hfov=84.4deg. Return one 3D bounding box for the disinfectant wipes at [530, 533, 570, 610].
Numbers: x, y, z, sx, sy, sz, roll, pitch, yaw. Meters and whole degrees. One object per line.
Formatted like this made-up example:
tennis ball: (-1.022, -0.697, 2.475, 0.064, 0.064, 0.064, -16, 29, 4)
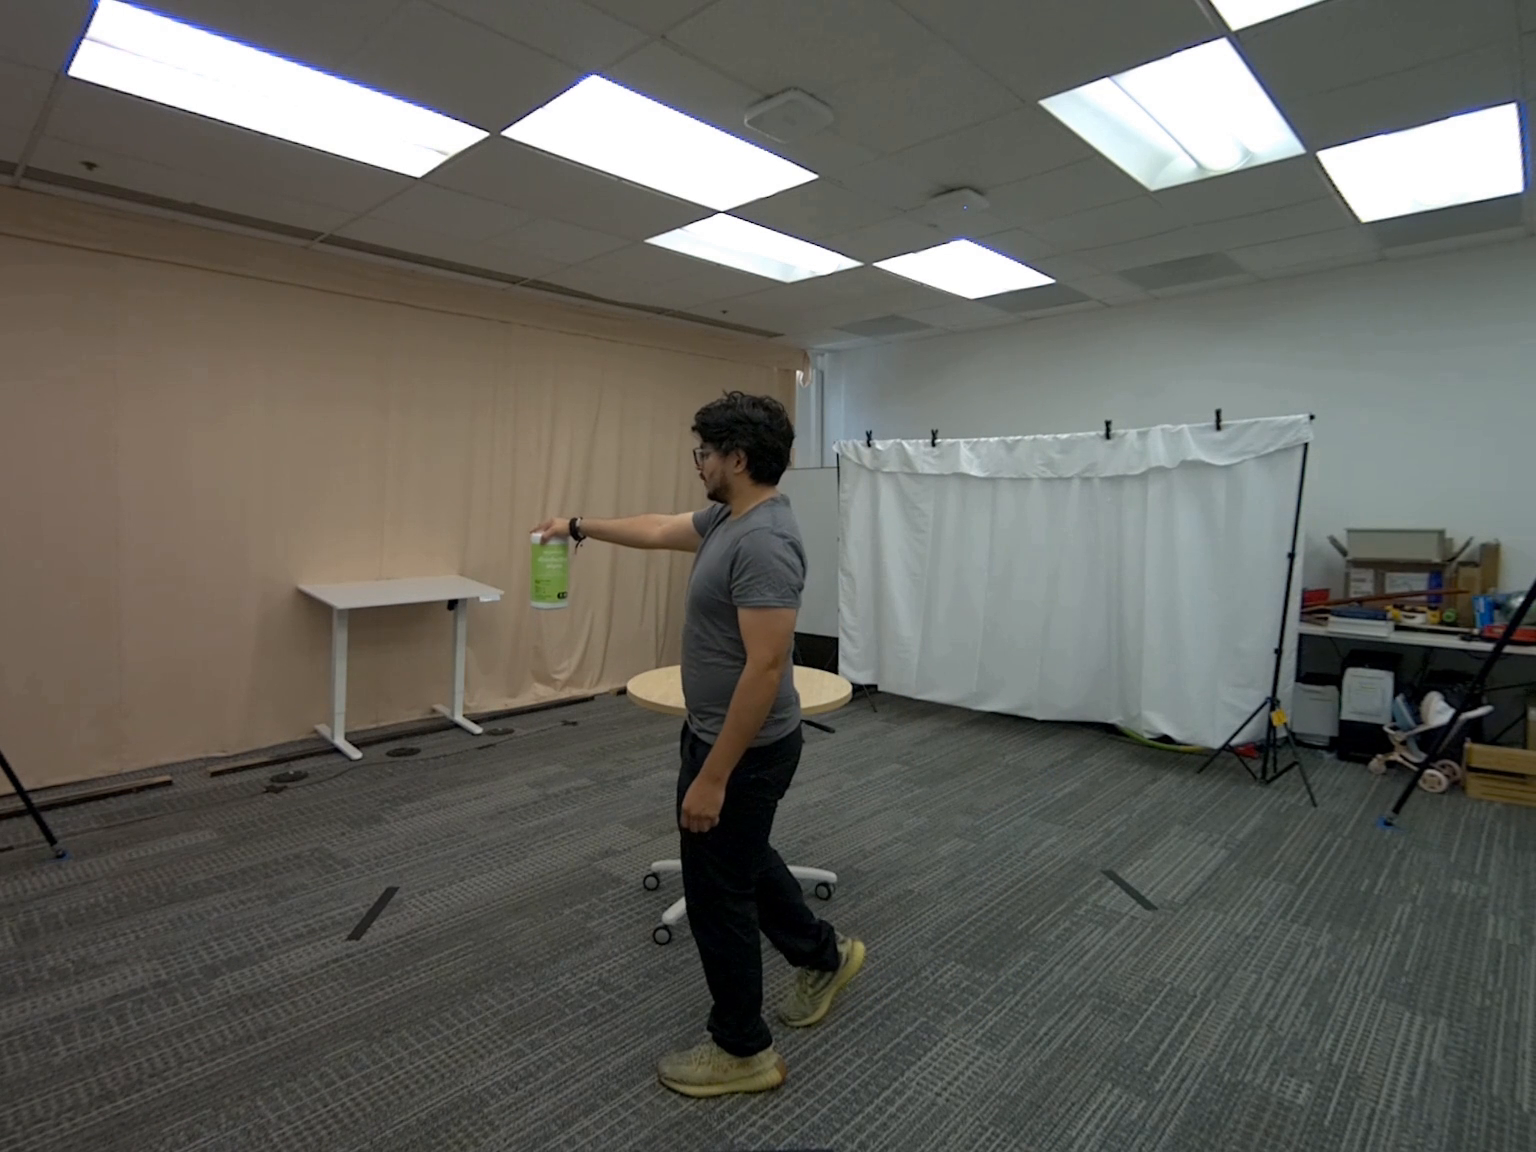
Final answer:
disinfectant wipes: (-0.627, -0.013, 2.422, 0.117, 0.217, 0.118, 2, 5, -2)
